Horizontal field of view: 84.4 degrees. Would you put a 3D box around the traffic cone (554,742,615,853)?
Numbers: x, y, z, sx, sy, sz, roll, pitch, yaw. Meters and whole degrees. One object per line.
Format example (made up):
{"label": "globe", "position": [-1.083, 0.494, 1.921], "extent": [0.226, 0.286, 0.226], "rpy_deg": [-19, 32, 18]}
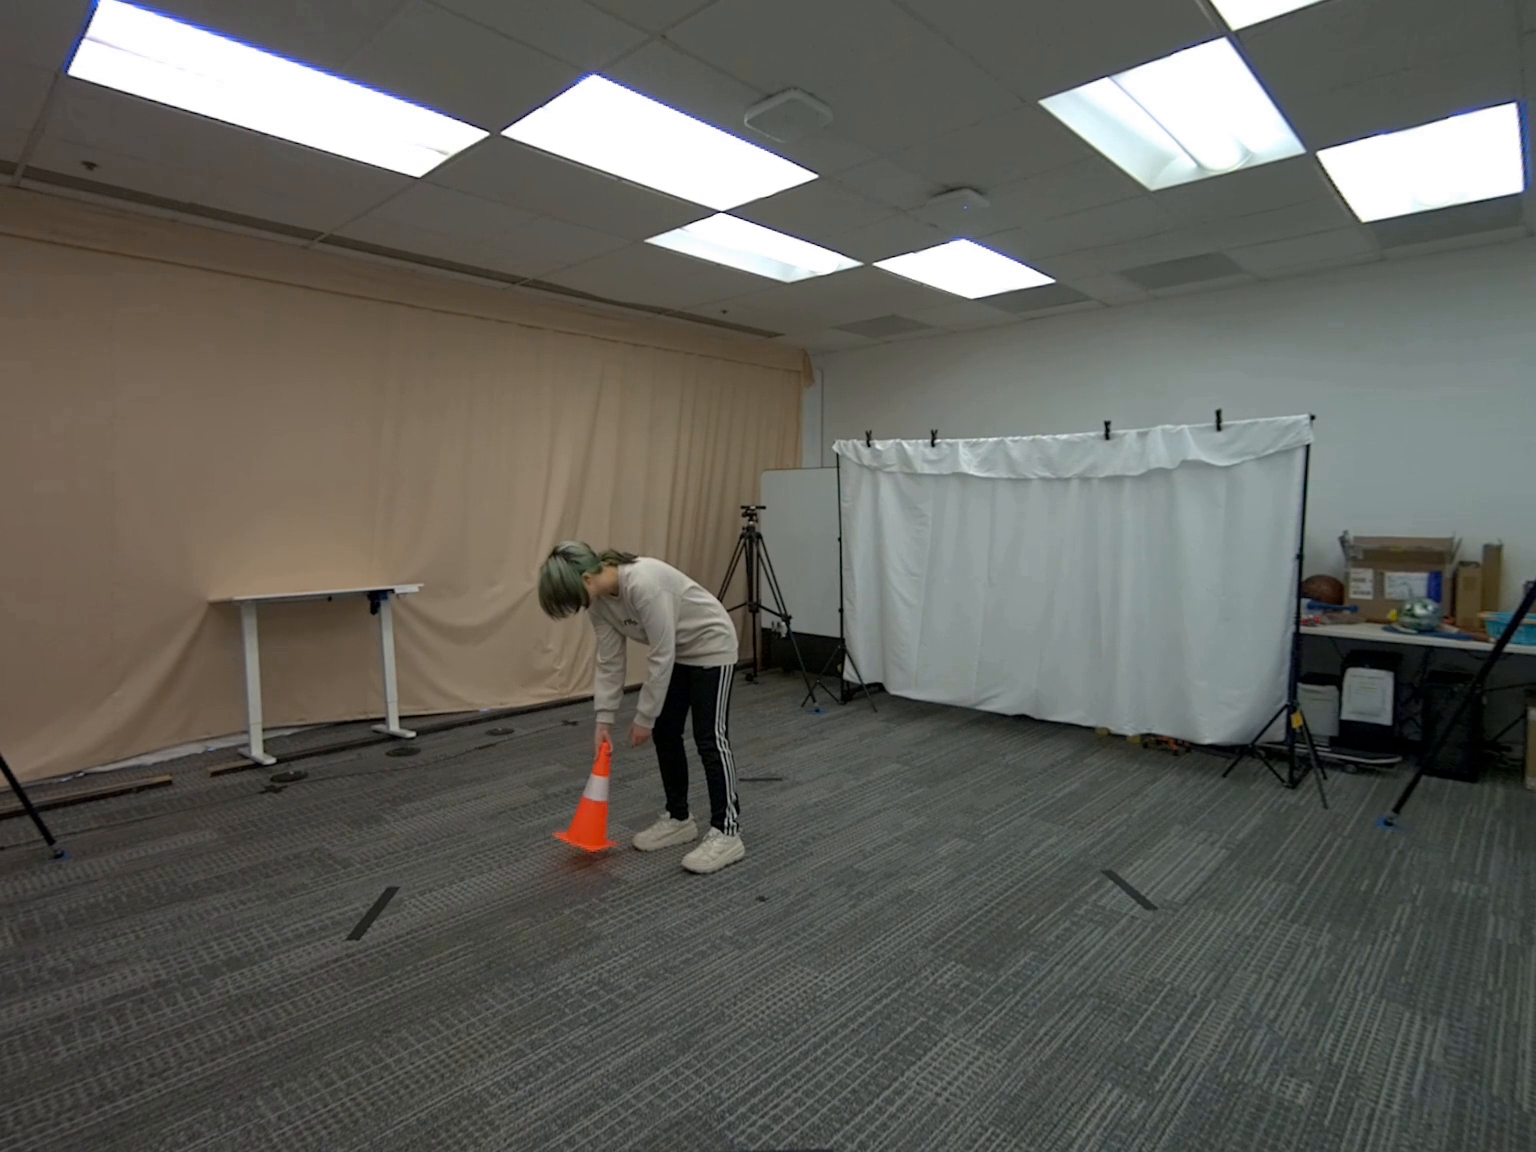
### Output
{"label": "traffic cone", "position": [-0.672, 0.852, 3.308], "extent": [0.210, 0.384, 0.198], "rpy_deg": [10, -5, 23]}
